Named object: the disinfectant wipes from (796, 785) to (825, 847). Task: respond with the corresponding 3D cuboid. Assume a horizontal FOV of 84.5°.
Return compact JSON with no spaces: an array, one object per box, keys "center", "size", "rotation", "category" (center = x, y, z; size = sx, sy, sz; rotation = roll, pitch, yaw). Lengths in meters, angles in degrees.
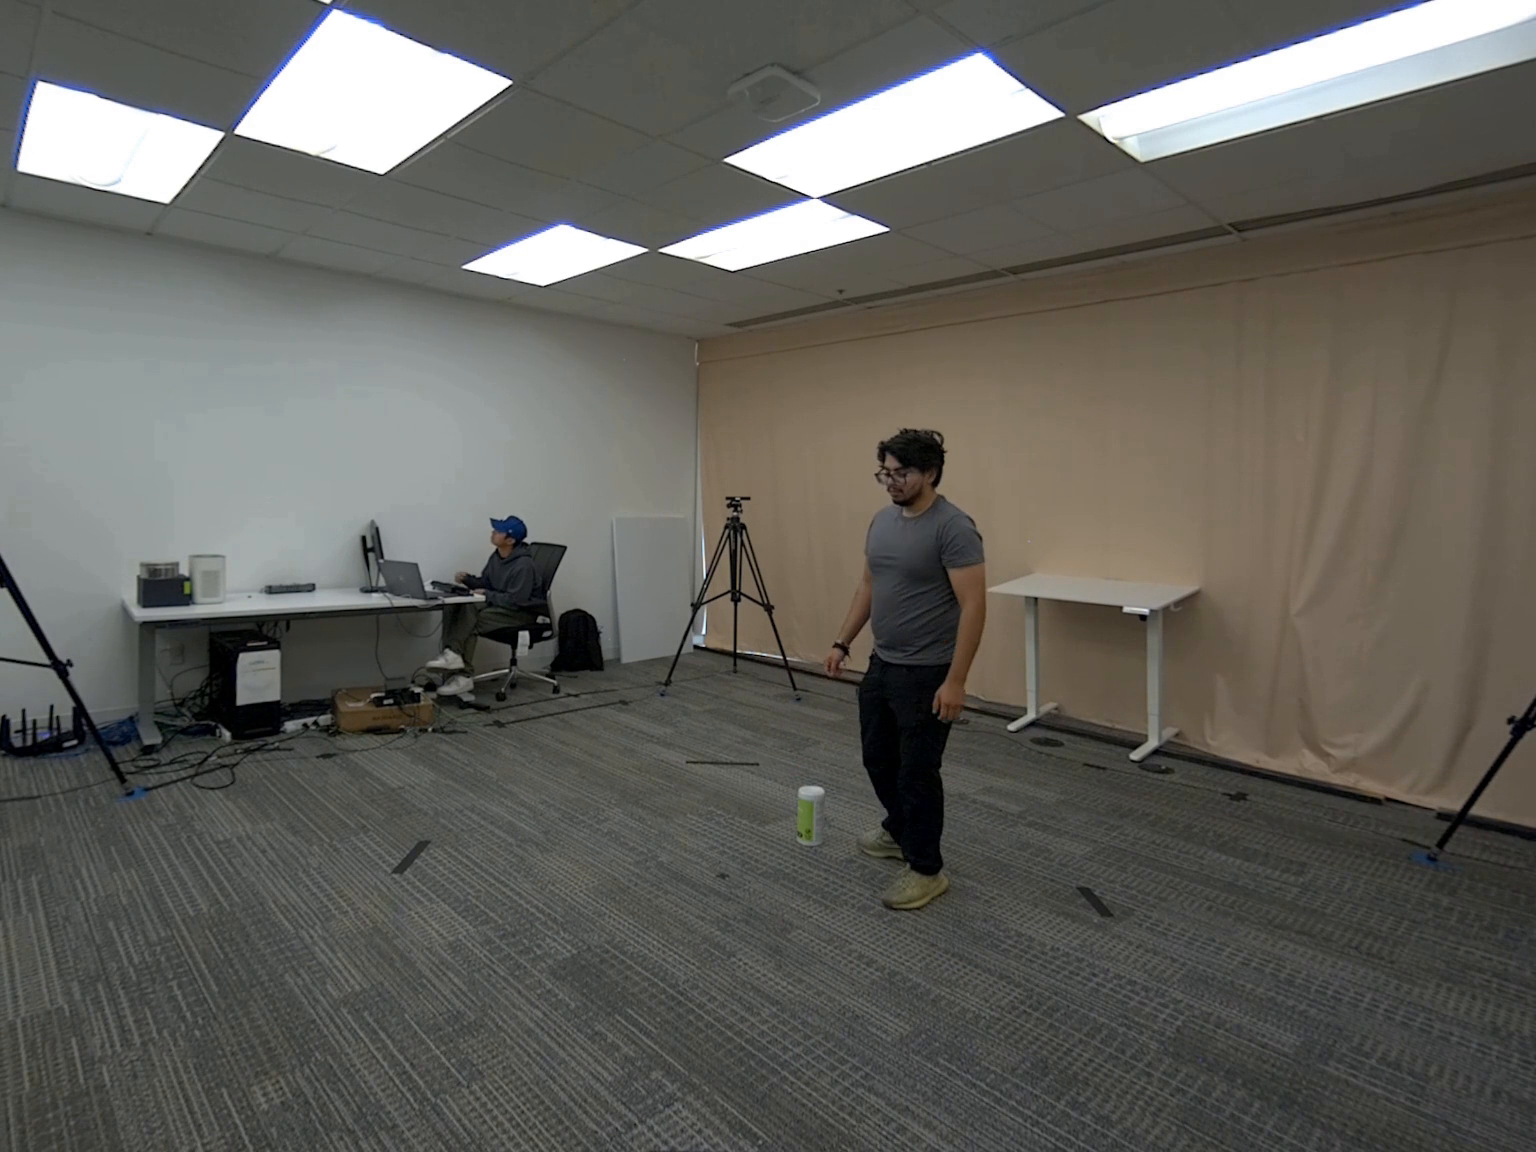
[{"center":[0.166,0.979,3.435],"size":[0.118,0.216,0.118],"rotation":[0,6,-1],"category":"disinfectant wipes"}]
